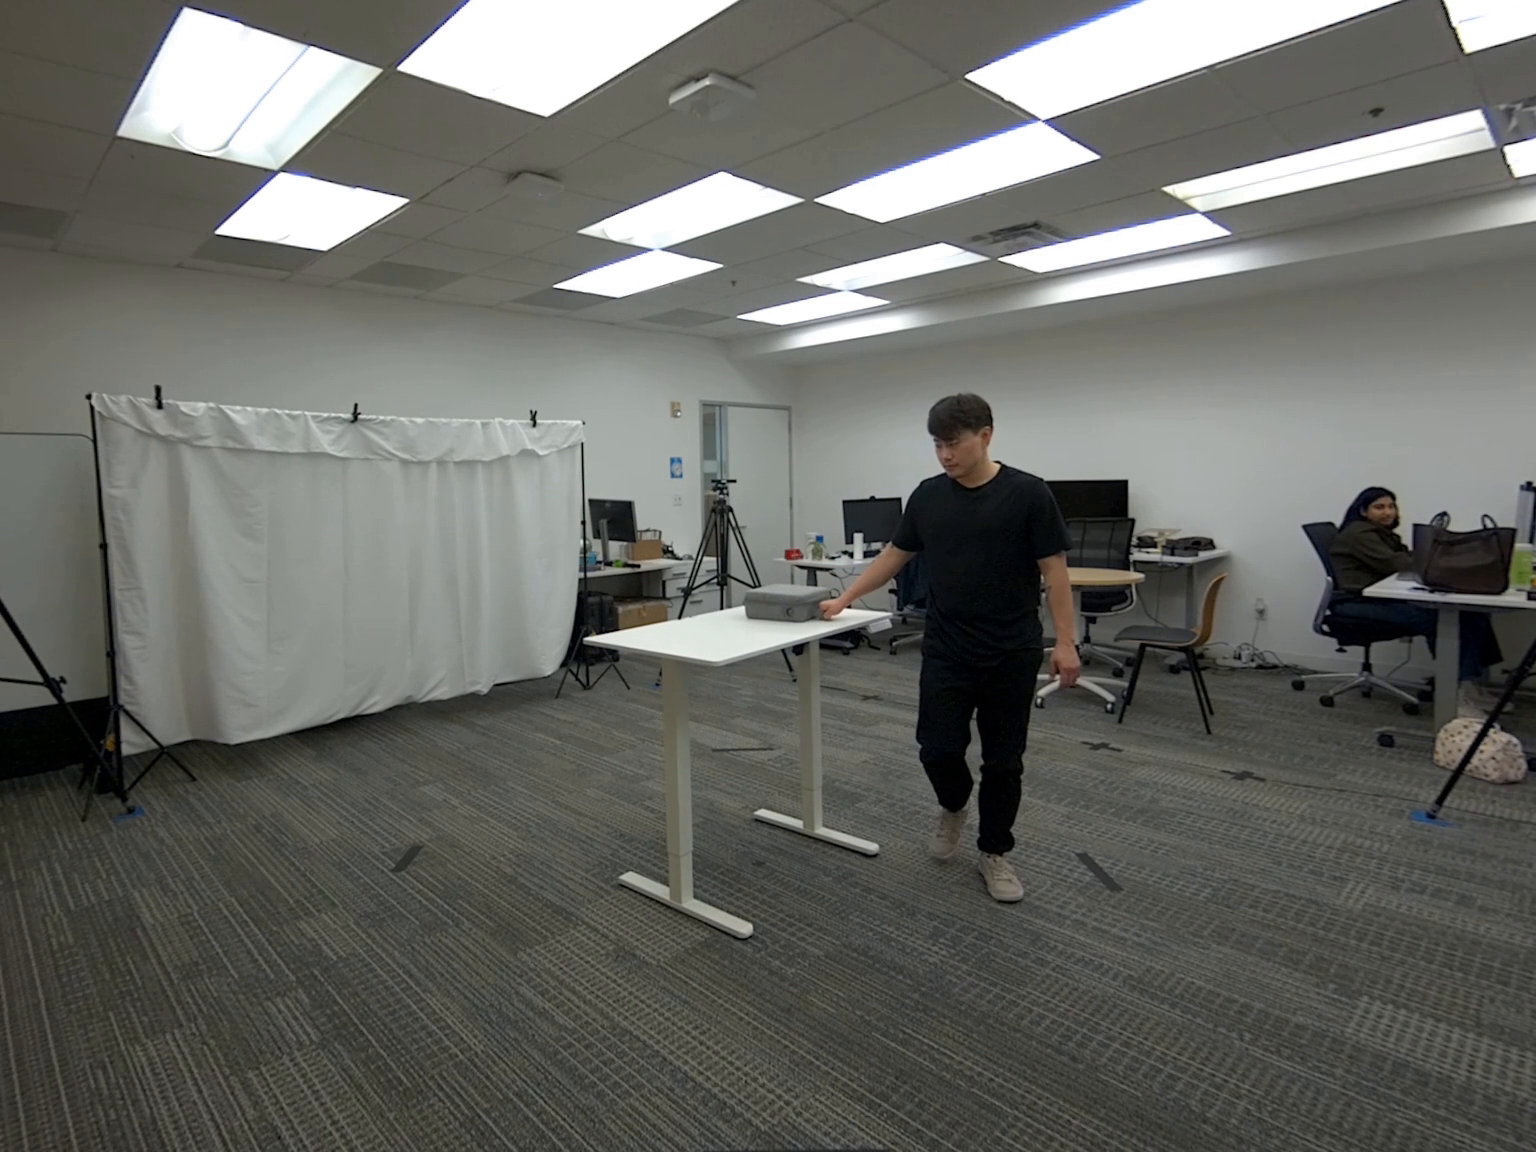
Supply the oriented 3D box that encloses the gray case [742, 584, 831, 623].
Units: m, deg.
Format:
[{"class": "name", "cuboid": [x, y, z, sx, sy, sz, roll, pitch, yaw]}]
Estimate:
[{"class": "gray case", "cuboid": [0.078, 0.097, 3.200, 0.268, 0.104, 0.251, 4, 7, 30]}]
